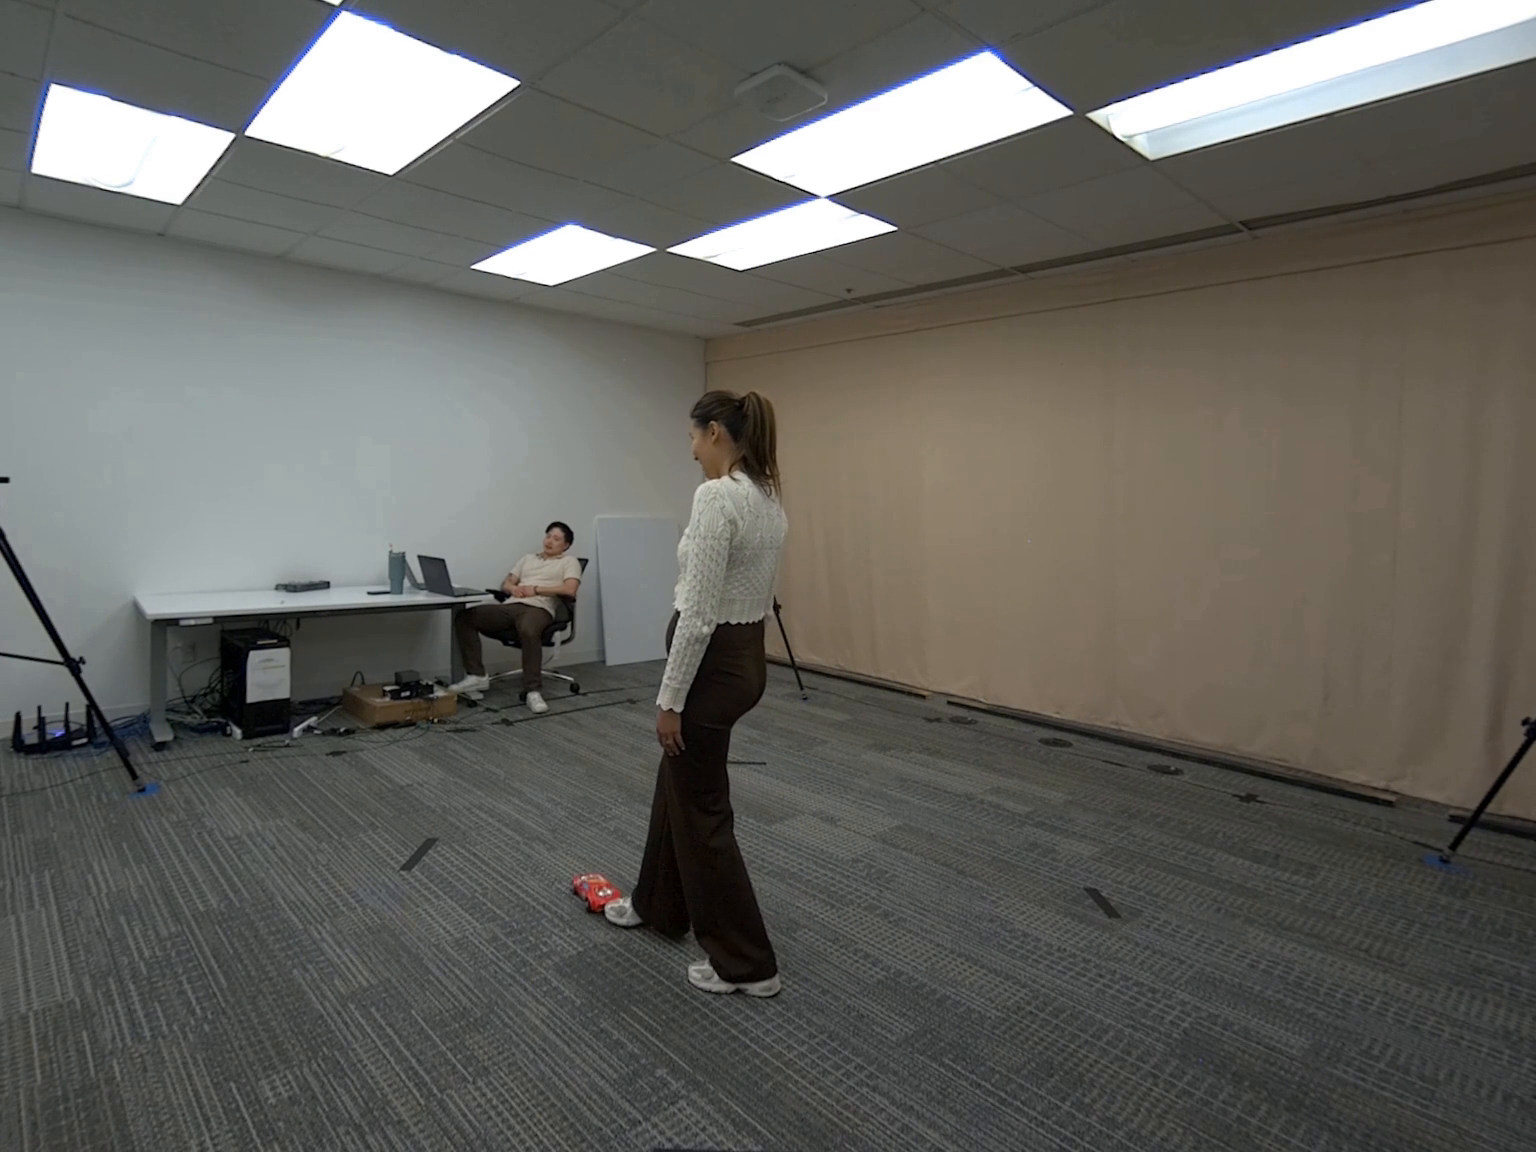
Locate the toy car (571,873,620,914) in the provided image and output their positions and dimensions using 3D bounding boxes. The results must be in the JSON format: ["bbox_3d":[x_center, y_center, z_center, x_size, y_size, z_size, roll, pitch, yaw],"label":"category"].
[{"bbox_3d":[-0.589,1.082,2.869,0.128,0.083,0.258,-2,-5,-31],"label":"toy car"}]
